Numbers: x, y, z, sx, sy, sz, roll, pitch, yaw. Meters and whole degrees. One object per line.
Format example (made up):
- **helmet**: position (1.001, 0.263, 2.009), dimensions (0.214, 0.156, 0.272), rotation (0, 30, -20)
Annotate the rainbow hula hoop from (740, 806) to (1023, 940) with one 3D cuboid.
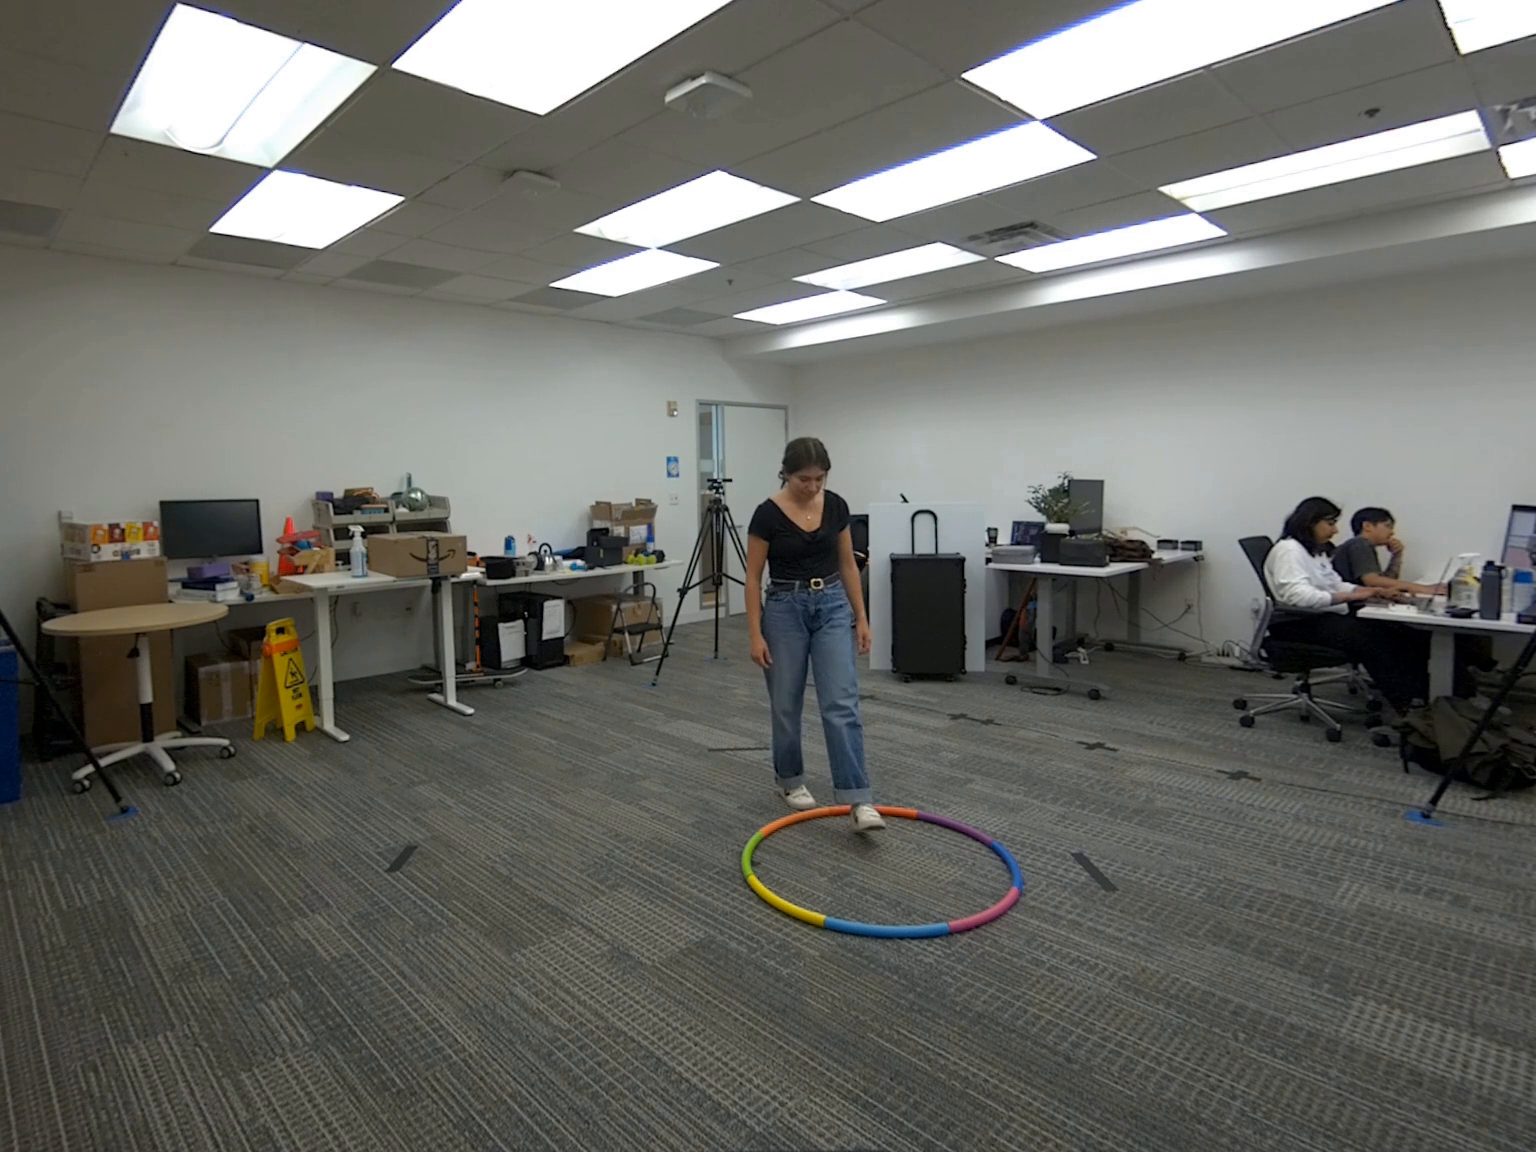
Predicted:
- **rainbow hula hoop**: position (0.387, 1.012, 3.075), dimensions (0.978, 0.035, 0.984), rotation (-1, 7, -2)
